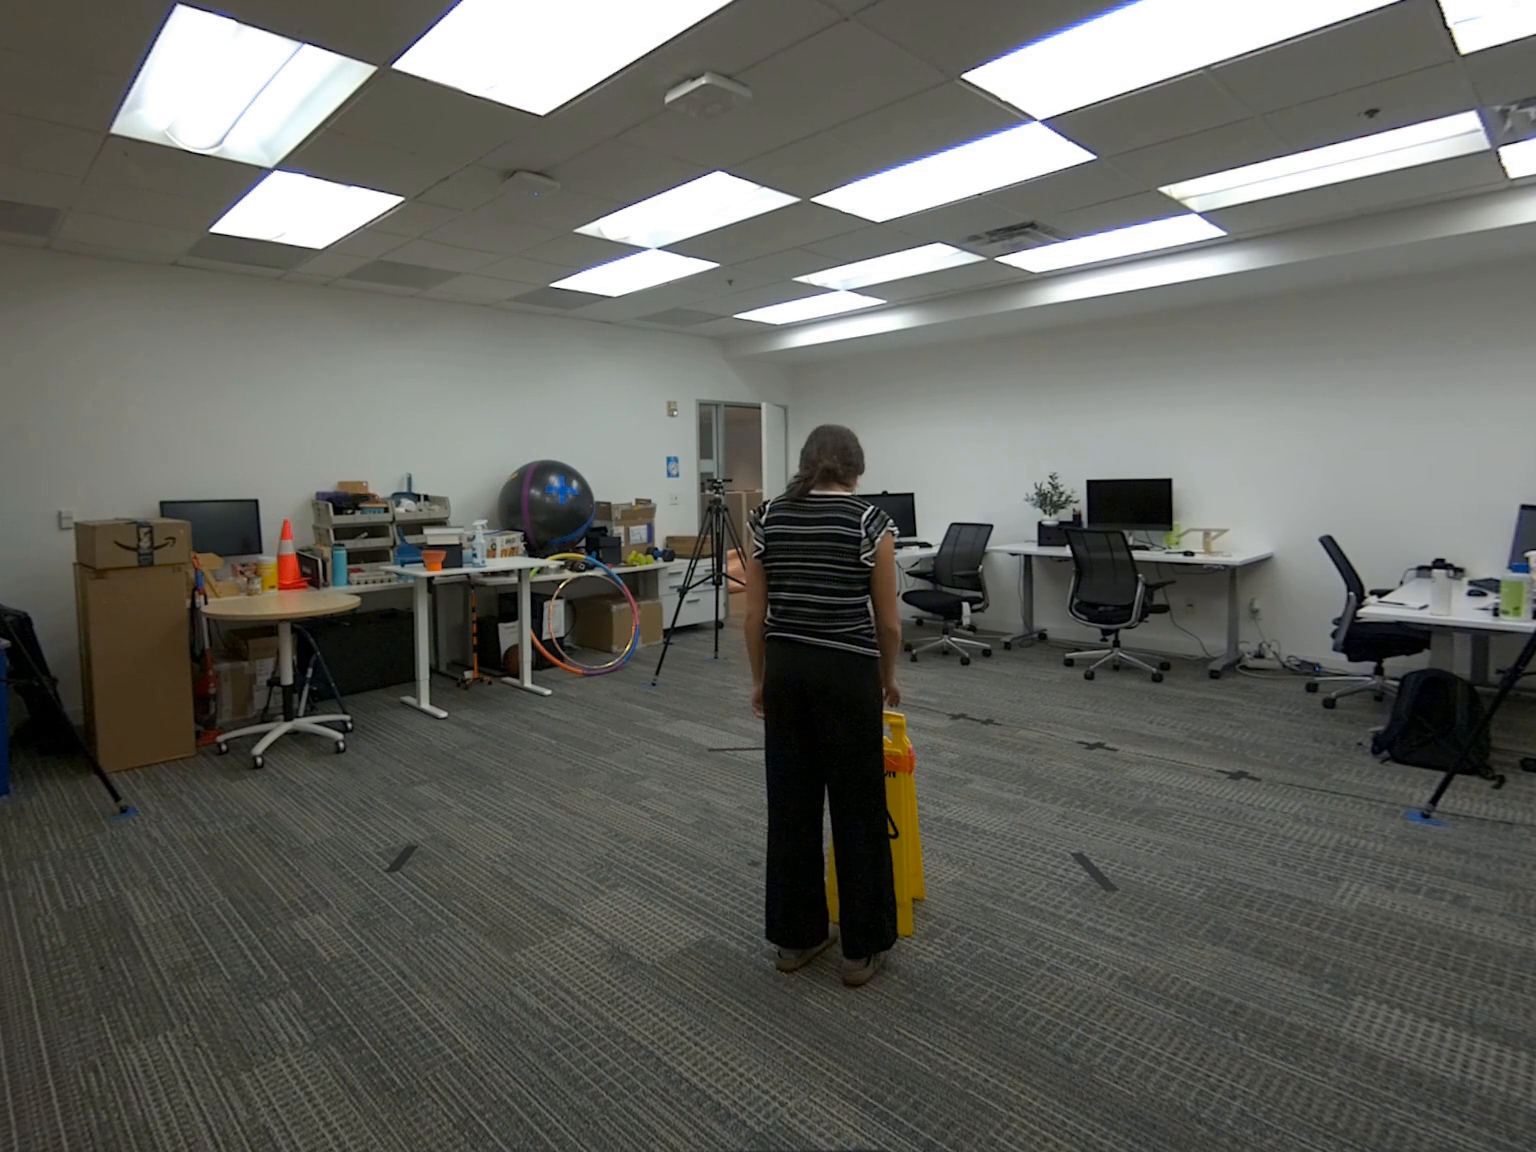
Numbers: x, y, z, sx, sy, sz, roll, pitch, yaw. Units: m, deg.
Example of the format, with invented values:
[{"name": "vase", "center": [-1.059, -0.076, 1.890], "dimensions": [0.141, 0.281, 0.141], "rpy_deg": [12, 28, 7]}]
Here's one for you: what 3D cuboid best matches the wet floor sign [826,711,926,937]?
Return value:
[{"name": "wet floor sign", "center": [0.347, 0.758, 2.732], "dimensions": [0.287, 0.644, 0.285], "rpy_deg": [-1, 4, 20]}]
